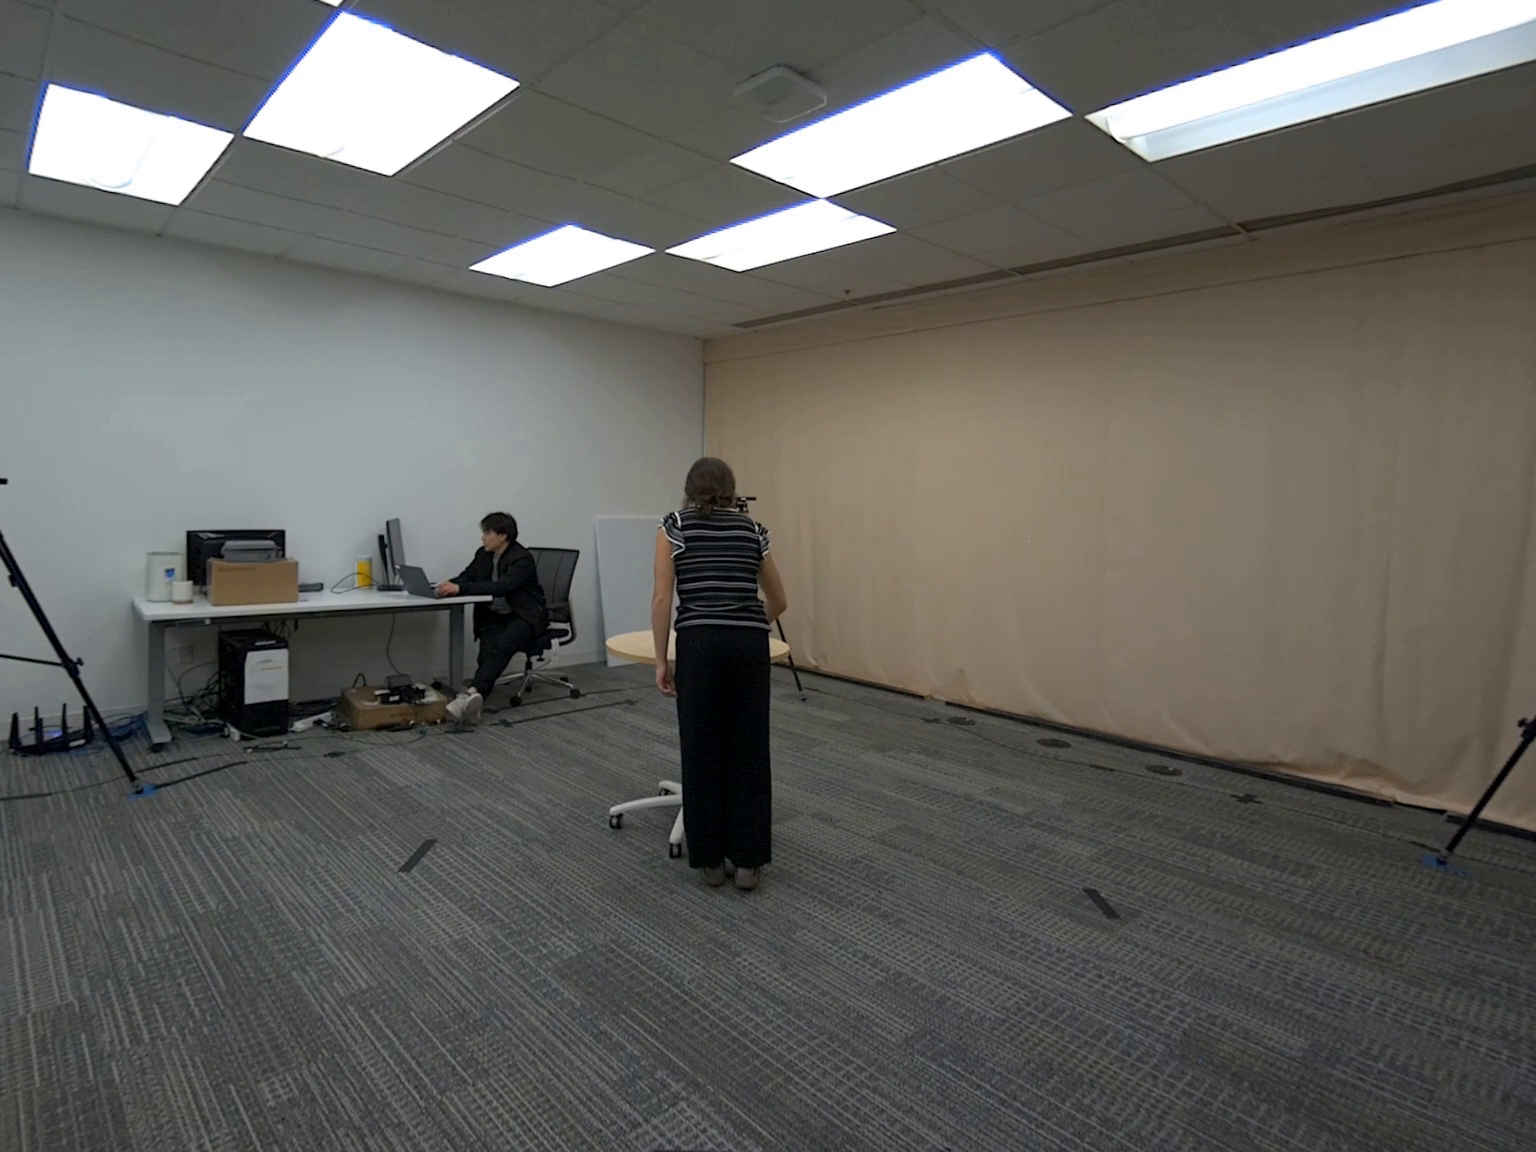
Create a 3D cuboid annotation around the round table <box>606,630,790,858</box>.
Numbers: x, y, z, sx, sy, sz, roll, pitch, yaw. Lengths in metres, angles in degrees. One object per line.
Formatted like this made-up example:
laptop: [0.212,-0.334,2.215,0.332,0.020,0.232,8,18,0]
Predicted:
round table: [-0.317,0.678,3.548,0.763,0.792,0.766,2,4,-2]
